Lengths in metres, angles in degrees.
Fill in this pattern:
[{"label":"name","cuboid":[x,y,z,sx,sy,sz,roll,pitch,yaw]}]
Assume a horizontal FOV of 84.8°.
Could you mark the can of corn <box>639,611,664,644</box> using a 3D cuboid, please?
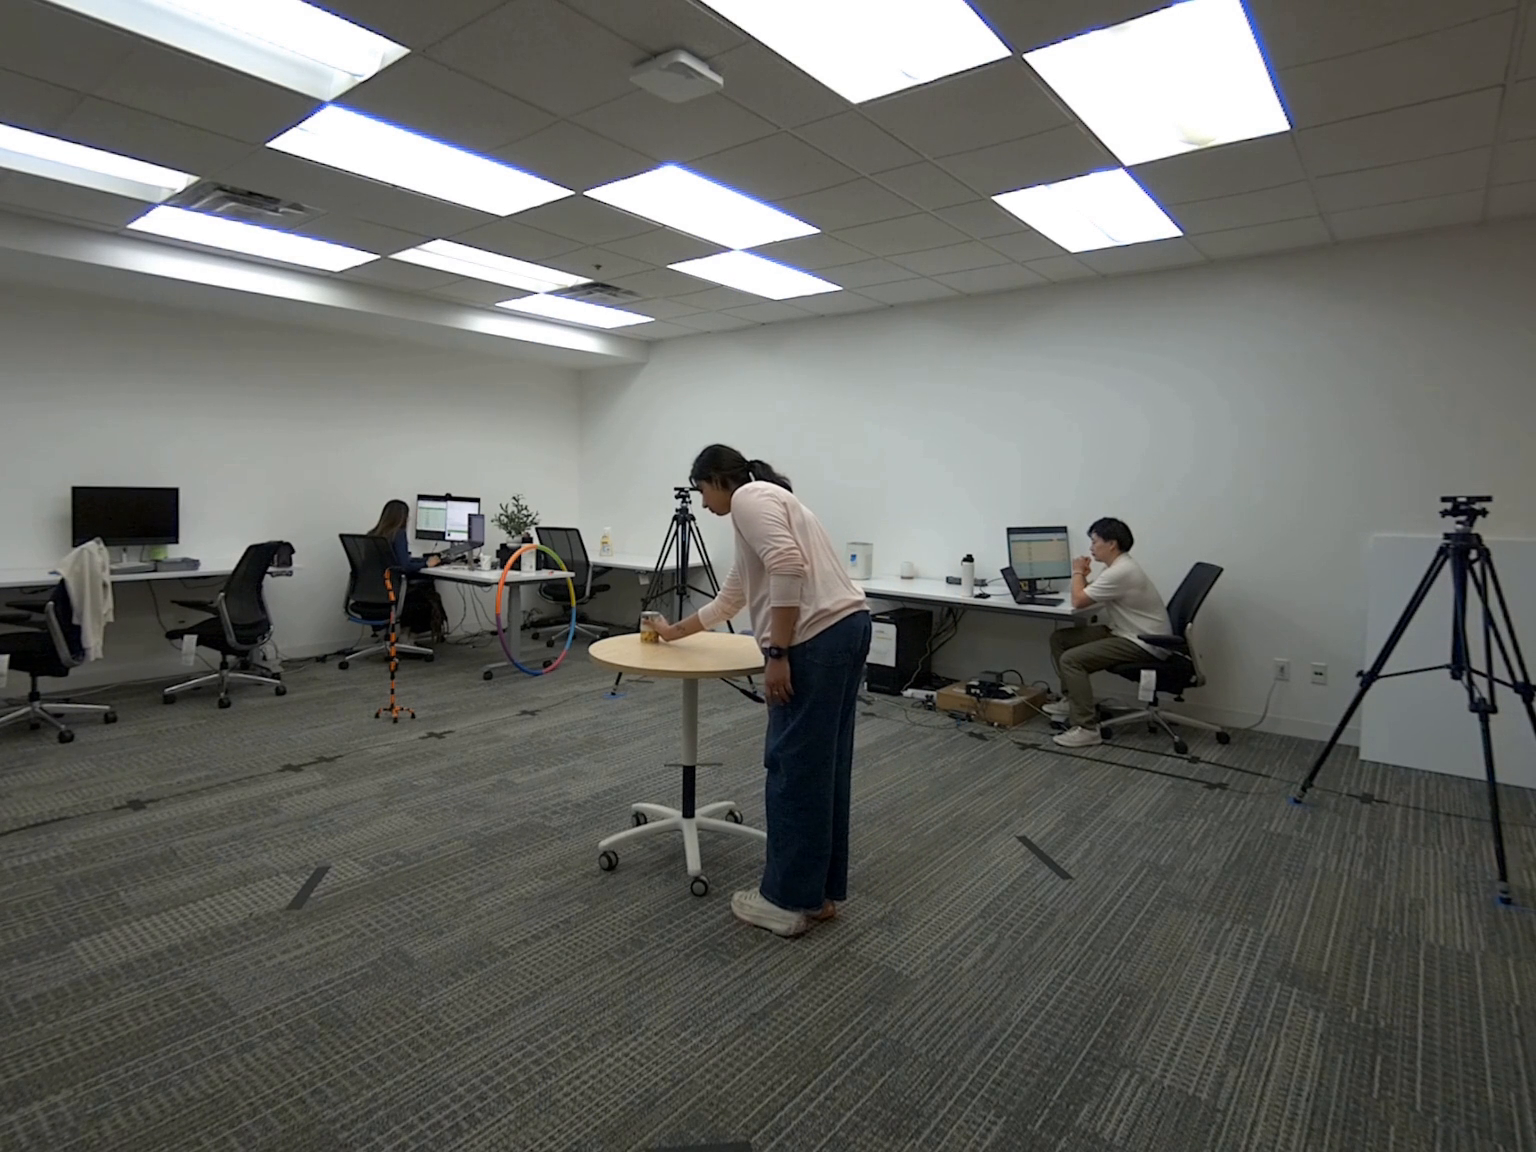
[{"label":"can of corn","cuboid":[-0.461,0.196,3.351,0.074,0.111,0.074,1,1,-2]}]
